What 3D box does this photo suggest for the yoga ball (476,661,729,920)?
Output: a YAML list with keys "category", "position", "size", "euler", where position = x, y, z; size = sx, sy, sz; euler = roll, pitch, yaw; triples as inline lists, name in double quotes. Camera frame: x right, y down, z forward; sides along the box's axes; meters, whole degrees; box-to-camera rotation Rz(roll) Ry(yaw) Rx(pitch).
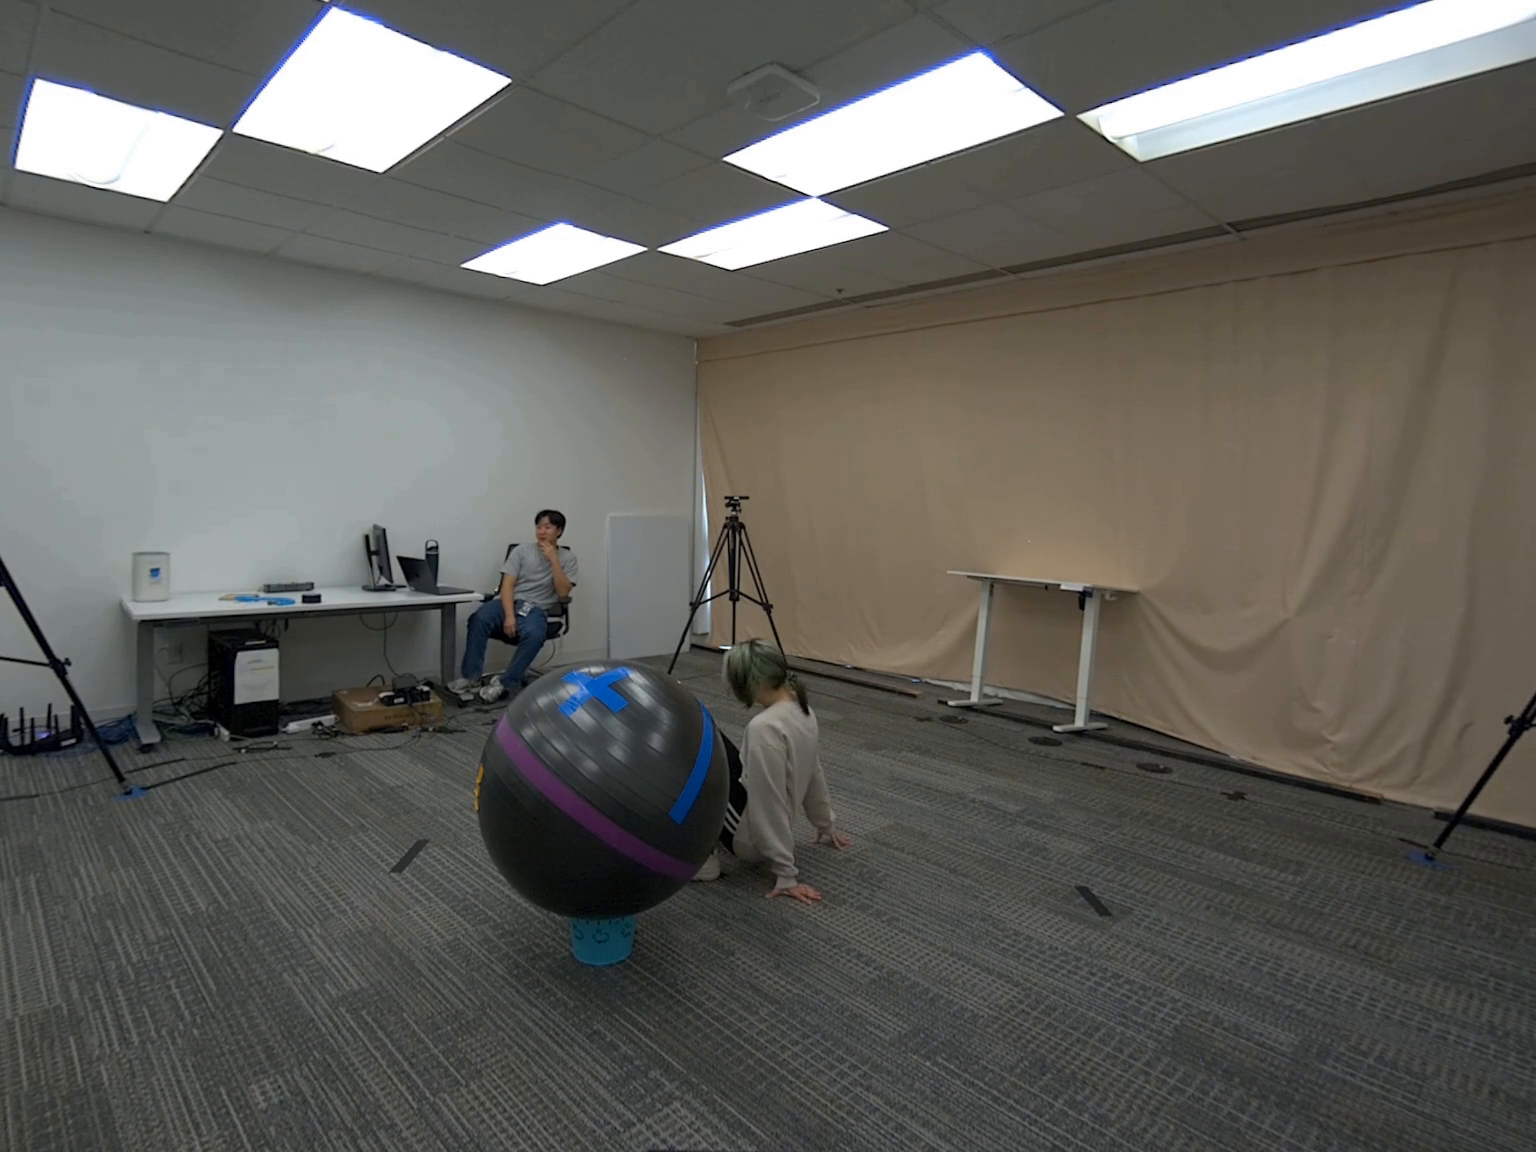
- category: "yoga ball"
  position: [-0.503, 0.638, 2.556]
  size: [0.757, 0.756, 0.761]
  euler: [1, 4, -1]
